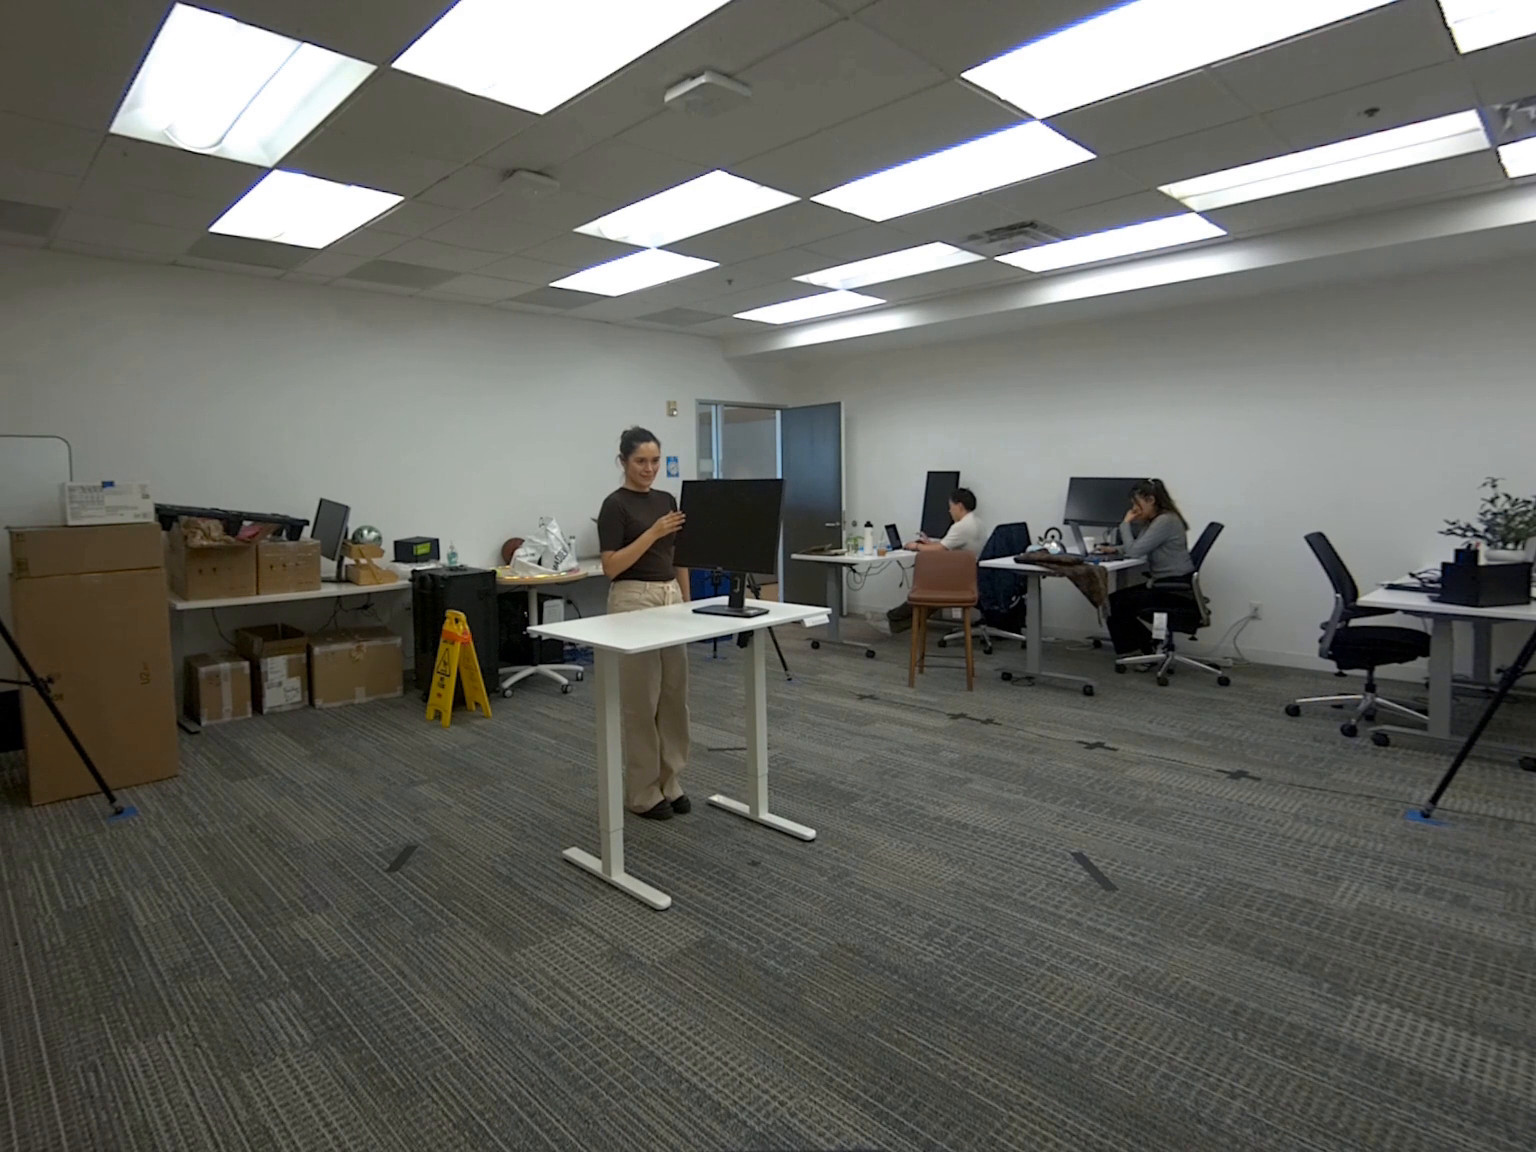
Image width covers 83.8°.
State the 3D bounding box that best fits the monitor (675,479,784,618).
[{"bbox_3d":[-0.139,-0.110,3.281,0.556,0.520,0.182,4,8,44],"label":"monitor"}]
